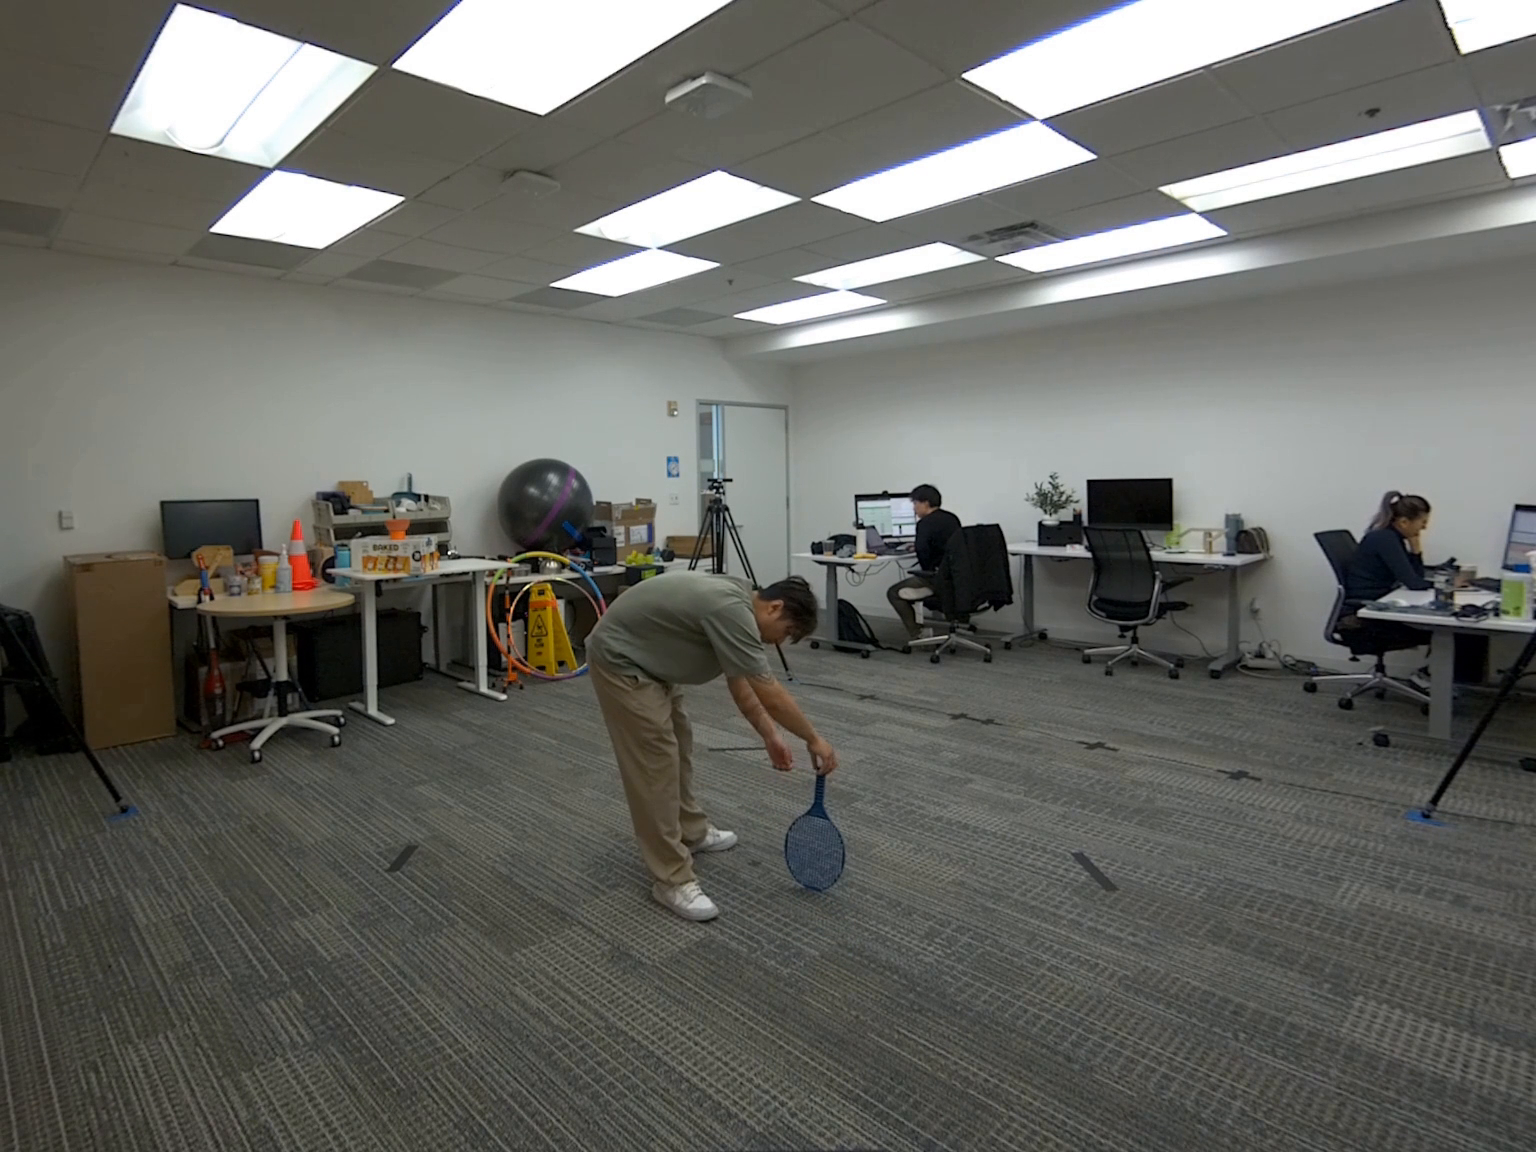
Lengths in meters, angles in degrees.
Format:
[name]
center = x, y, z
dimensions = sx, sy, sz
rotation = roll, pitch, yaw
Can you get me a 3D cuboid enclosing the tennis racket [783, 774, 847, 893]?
[tennis racket]
center = 0.156, 0.843, 2.880
dimensions = 0.219, 0.430, 0.031
rotation = 7, 7, 23
